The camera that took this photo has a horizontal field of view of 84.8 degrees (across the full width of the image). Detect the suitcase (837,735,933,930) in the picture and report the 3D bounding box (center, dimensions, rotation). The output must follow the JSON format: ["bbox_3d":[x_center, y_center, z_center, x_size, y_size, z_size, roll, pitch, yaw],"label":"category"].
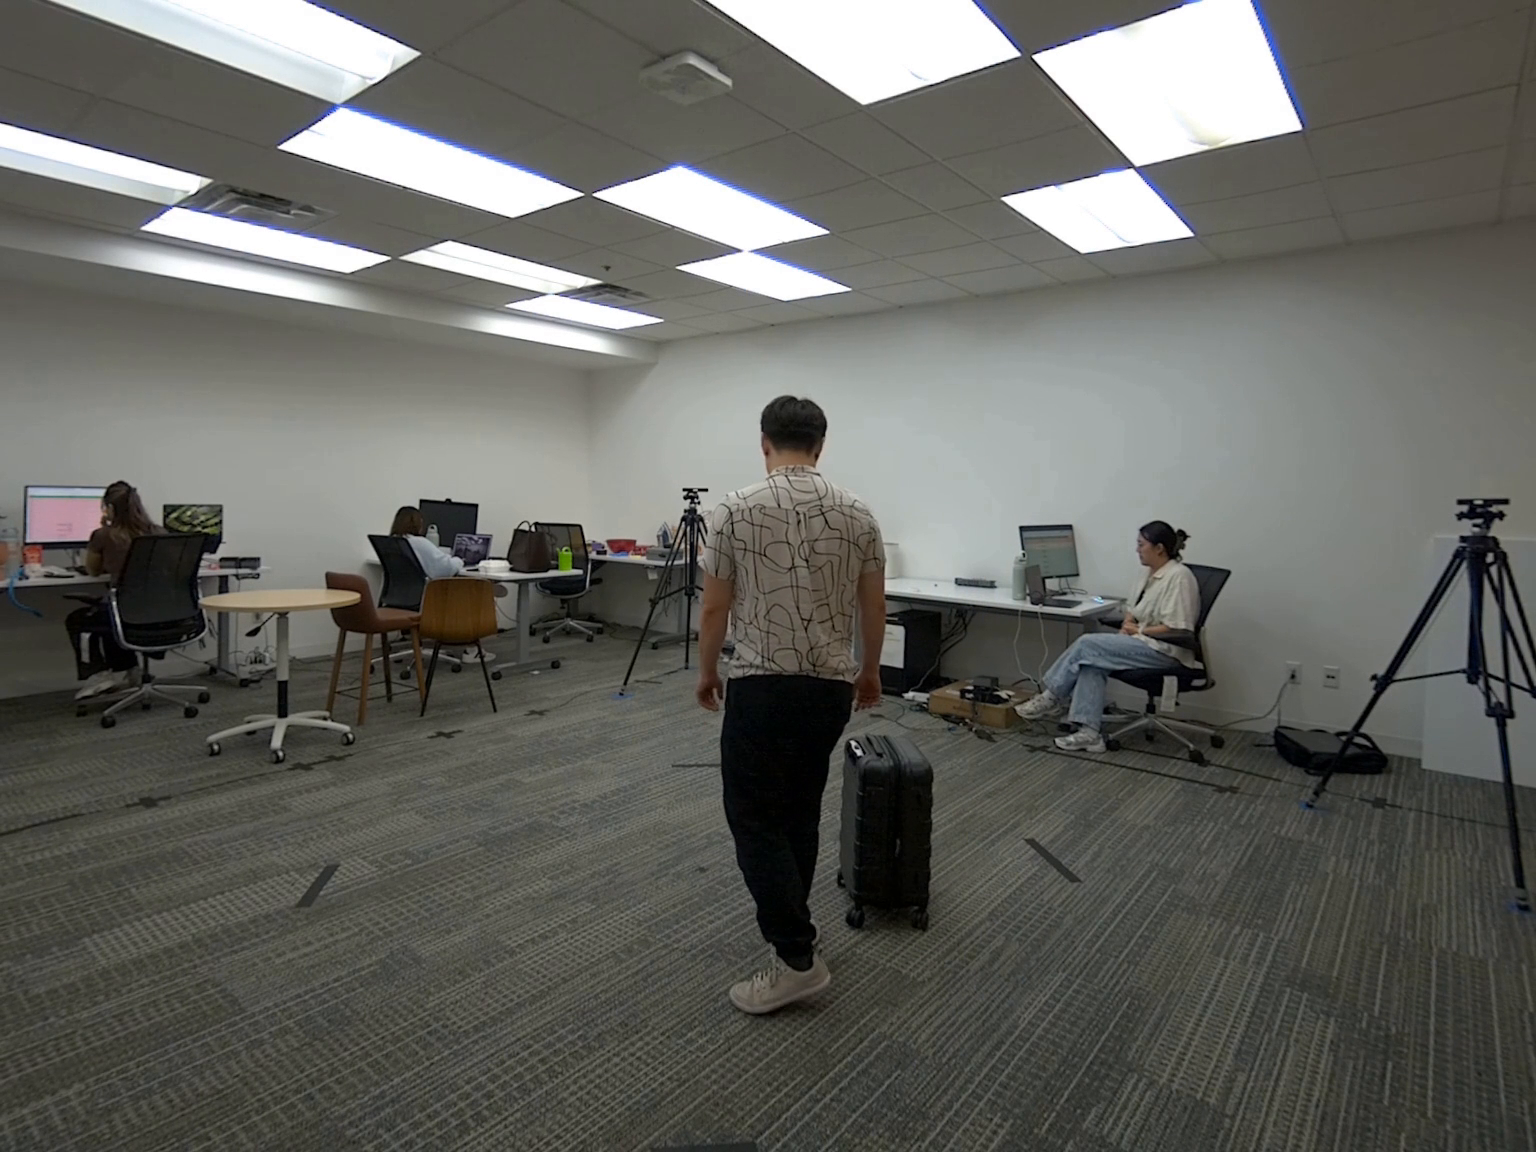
[{"bbox_3d":[0.389,0.830,2.877,0.248,0.548,0.376,2,2,-2],"label":"suitcase"}]
